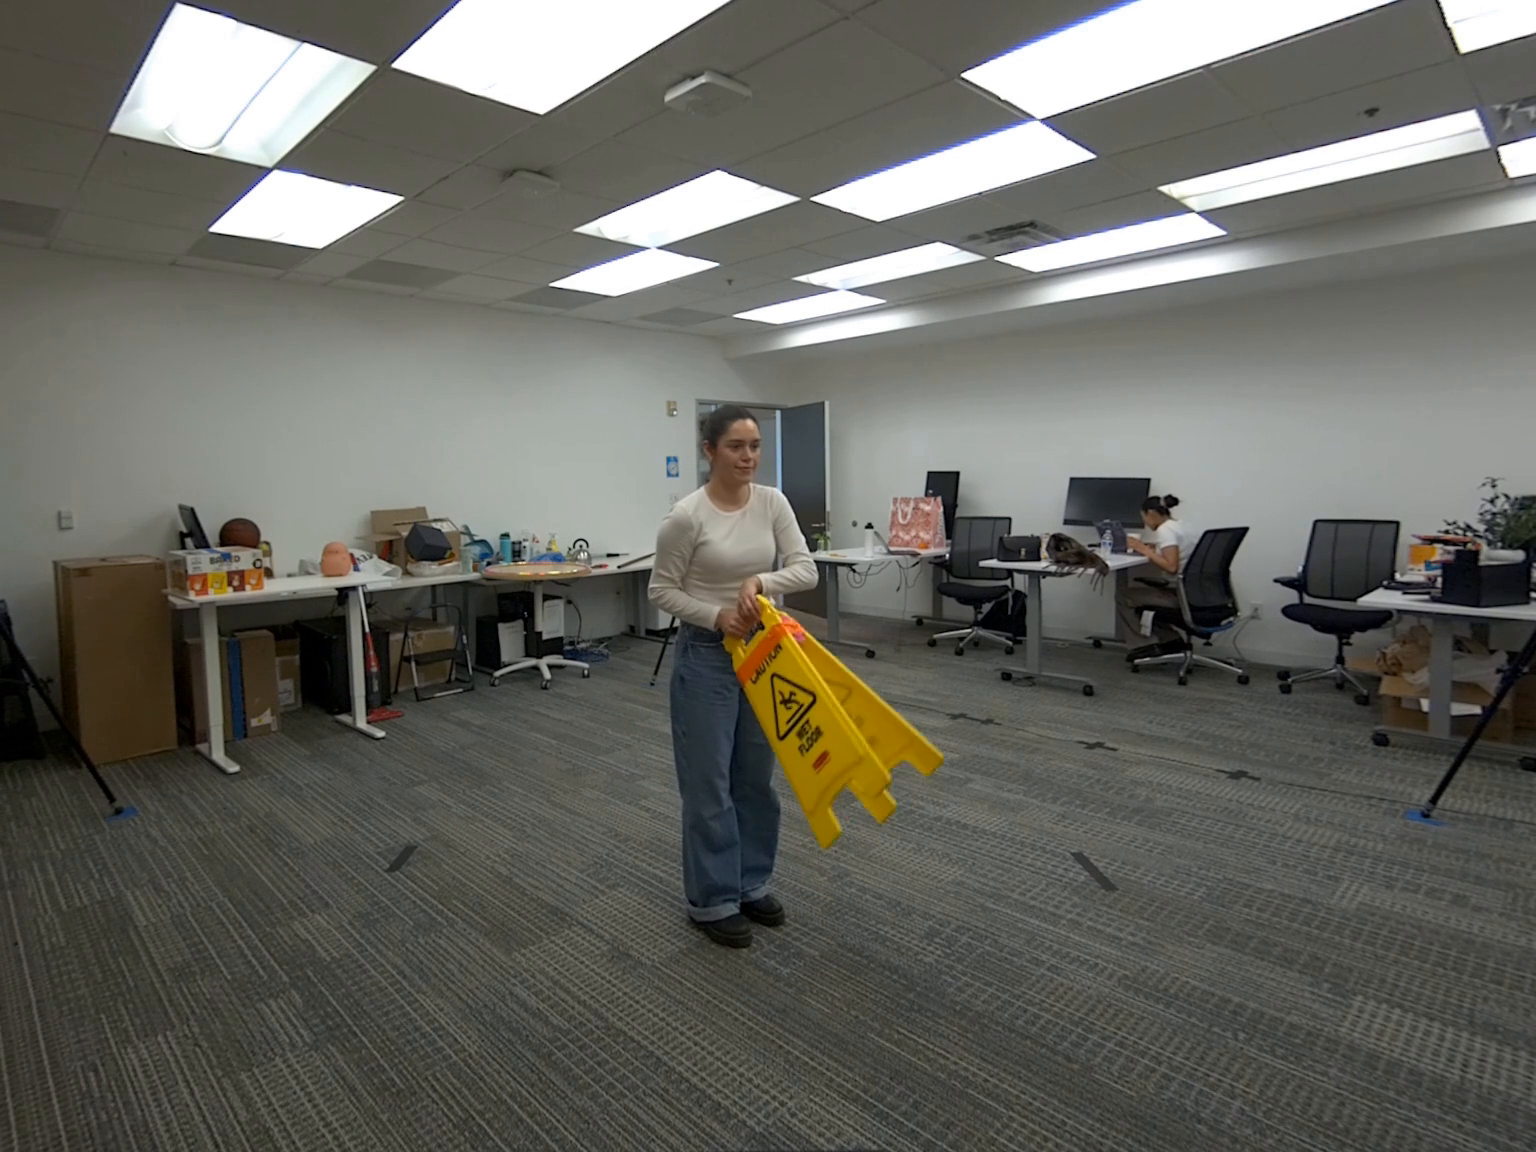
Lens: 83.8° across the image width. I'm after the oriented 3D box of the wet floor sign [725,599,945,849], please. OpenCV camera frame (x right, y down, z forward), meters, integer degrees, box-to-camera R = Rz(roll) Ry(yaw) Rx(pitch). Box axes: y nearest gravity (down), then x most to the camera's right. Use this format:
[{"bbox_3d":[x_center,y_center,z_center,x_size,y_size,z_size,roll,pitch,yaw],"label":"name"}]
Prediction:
[{"bbox_3d":[0.113,0.355,2.293,0.281,0.281,0.668,0,43,-50],"label":"wet floor sign"}]
